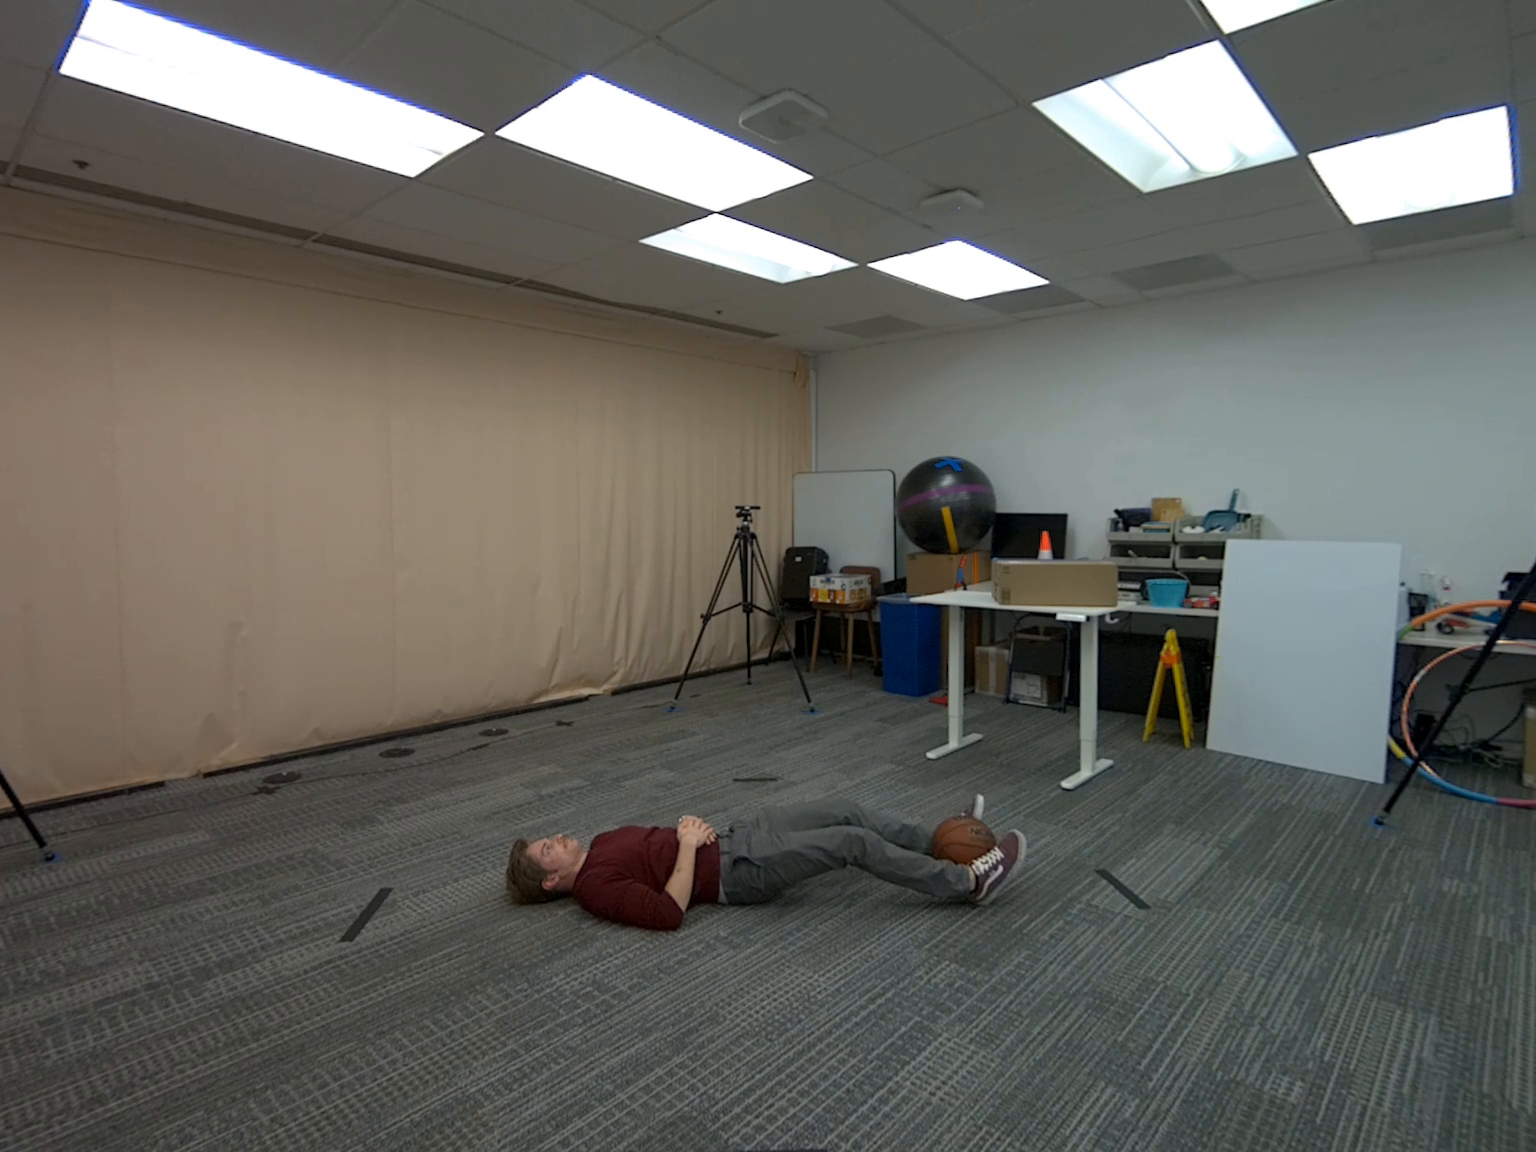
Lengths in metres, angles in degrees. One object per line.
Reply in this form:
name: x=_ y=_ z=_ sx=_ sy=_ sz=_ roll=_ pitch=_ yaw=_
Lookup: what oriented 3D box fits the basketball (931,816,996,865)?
basketball: x=0.720 y=0.980 z=3.059 sx=0.235 sy=0.235 sz=0.237 roll=3 pitch=5 yaw=-2
